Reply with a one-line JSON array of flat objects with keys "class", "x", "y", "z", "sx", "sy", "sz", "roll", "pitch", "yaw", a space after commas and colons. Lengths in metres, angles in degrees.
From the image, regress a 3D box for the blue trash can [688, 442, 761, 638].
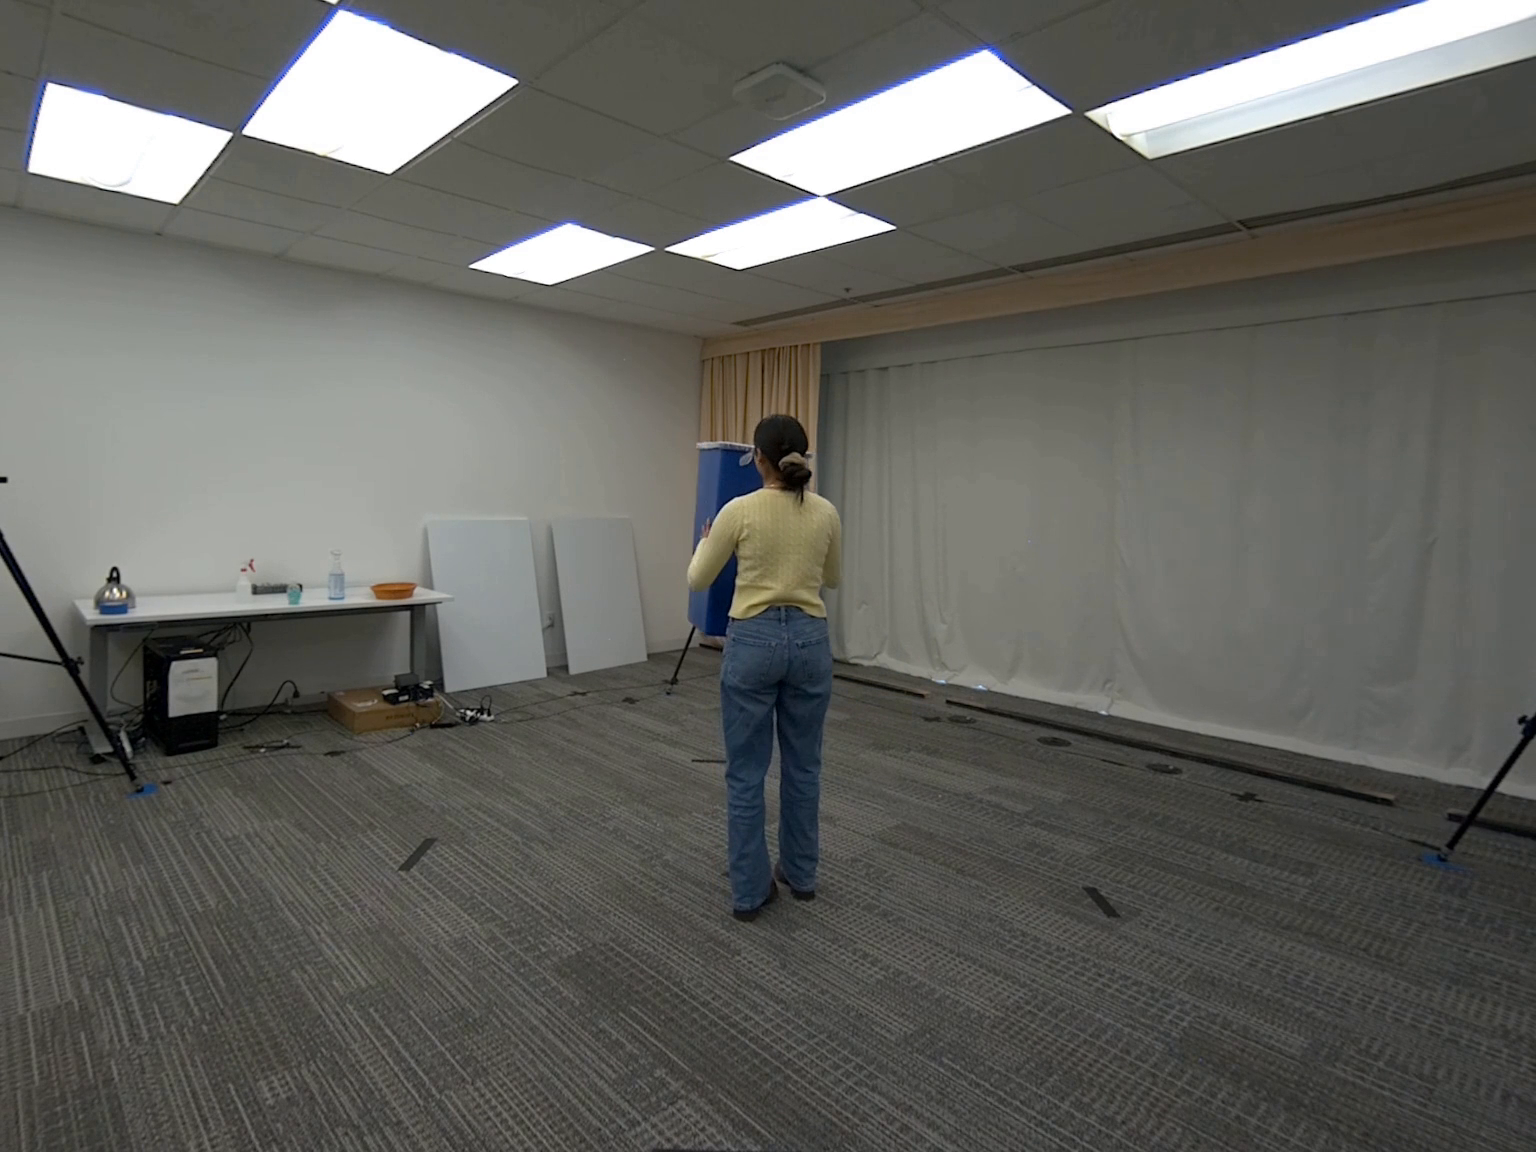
[{"class": "blue trash can", "x": -0.105, "y": -0.148, "z": 3.272, "sx": 0.372, "sy": 0.711, "sz": 0.381, "roll": 5, "pitch": 5, "yaw": -18}]
